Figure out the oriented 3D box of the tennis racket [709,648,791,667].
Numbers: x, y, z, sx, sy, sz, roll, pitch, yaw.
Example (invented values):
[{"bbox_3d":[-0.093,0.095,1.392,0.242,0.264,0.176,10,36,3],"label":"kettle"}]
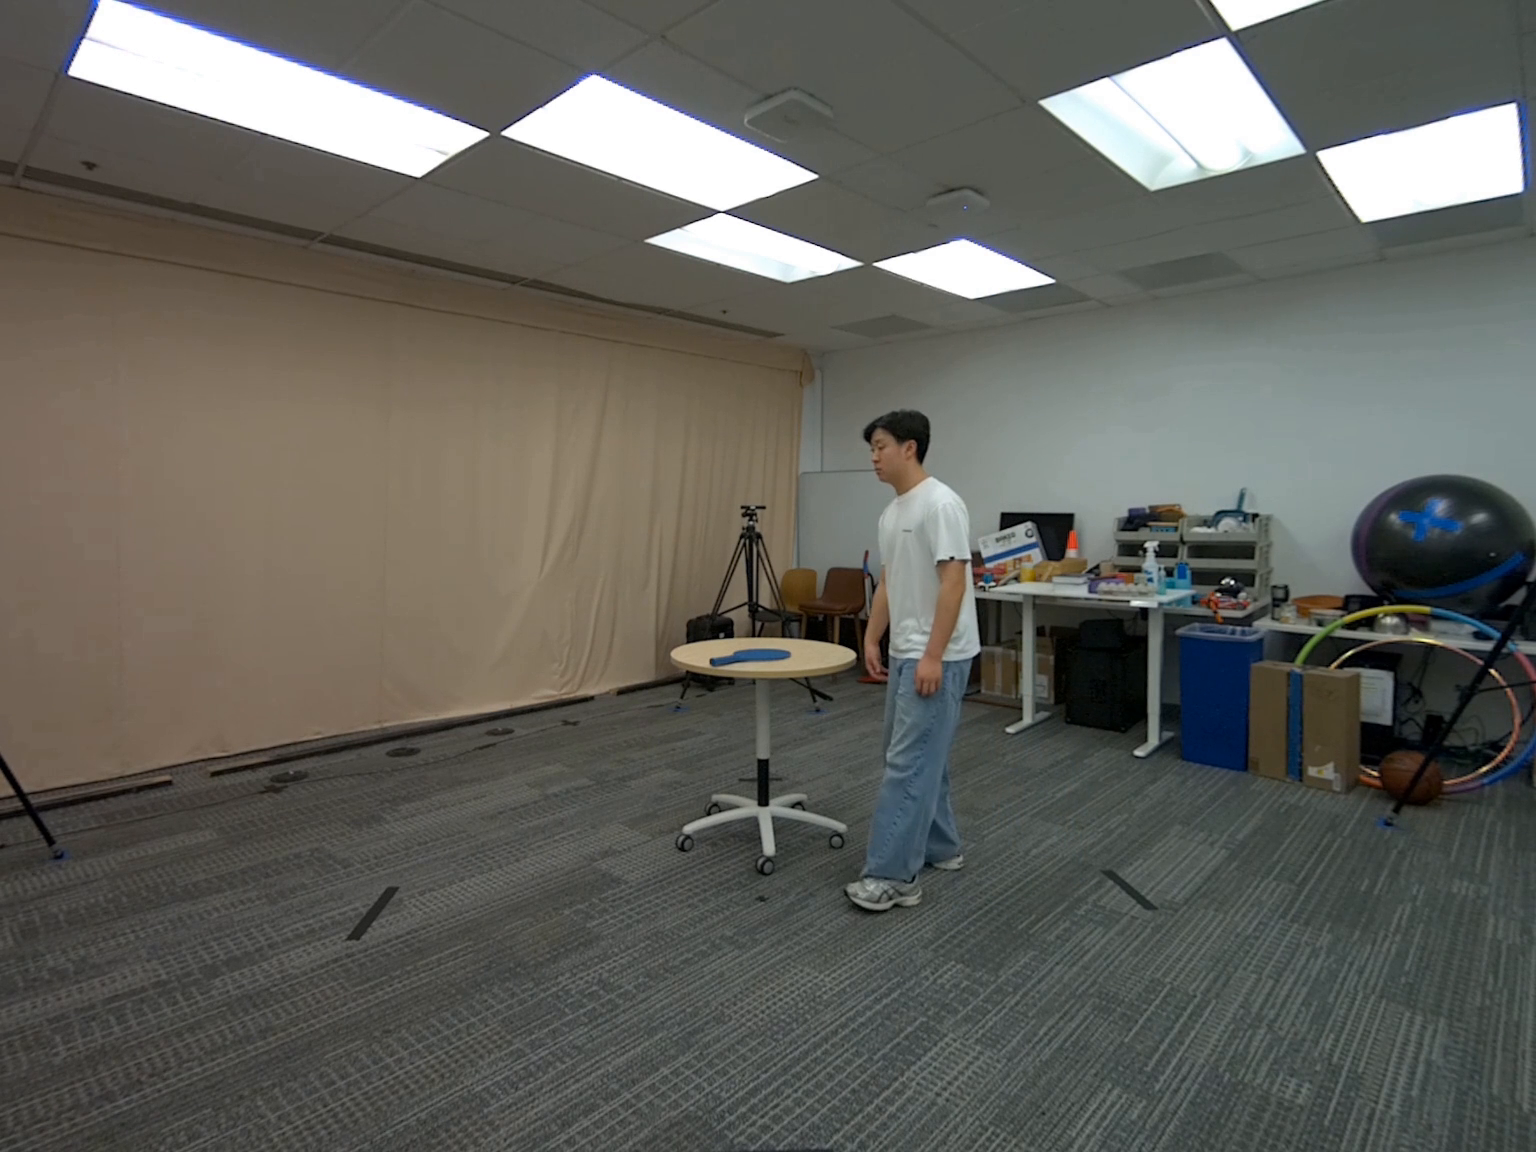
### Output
[{"bbox_3d":[-0.076,0.320,3.345,0.221,0.032,0.419,4,4,42],"label":"tennis racket"}]
